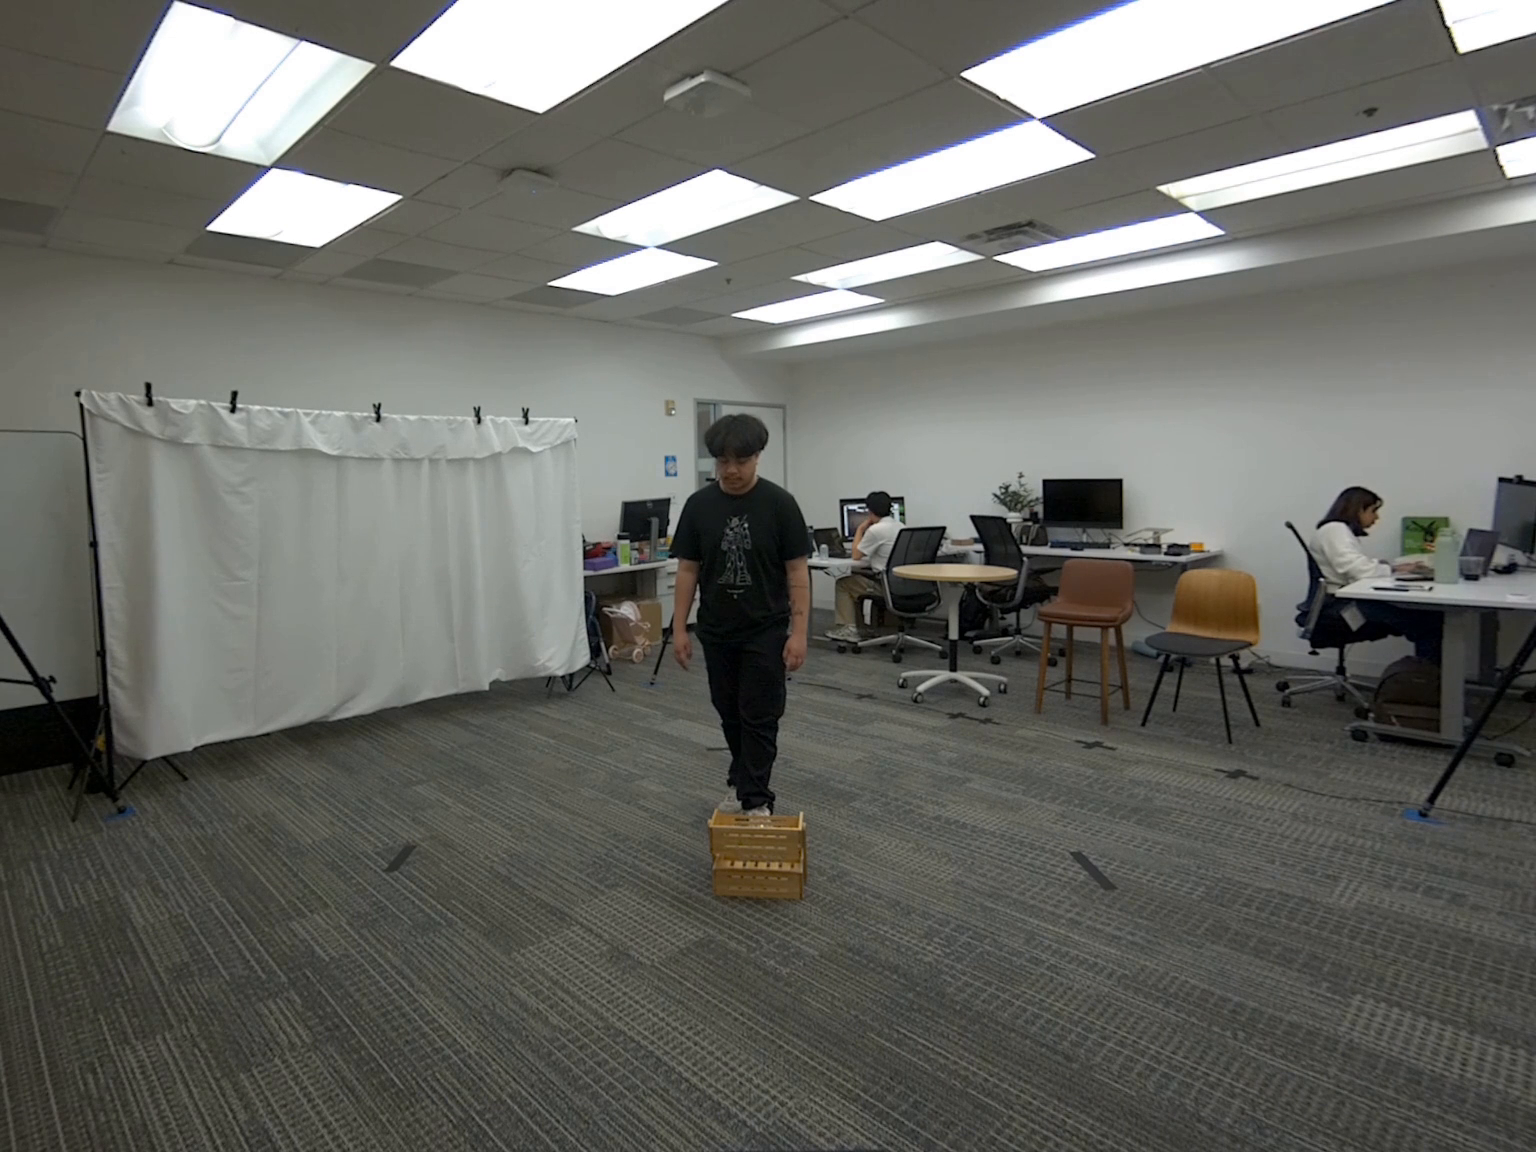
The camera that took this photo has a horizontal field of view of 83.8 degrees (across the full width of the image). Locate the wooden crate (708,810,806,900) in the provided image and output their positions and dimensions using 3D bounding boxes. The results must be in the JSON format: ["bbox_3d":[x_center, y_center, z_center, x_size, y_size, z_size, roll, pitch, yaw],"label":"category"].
[{"bbox_3d":[-0.031,0.931,2.940,0.326,0.272,0.302,0,7,5],"label":"wooden crate"}]
